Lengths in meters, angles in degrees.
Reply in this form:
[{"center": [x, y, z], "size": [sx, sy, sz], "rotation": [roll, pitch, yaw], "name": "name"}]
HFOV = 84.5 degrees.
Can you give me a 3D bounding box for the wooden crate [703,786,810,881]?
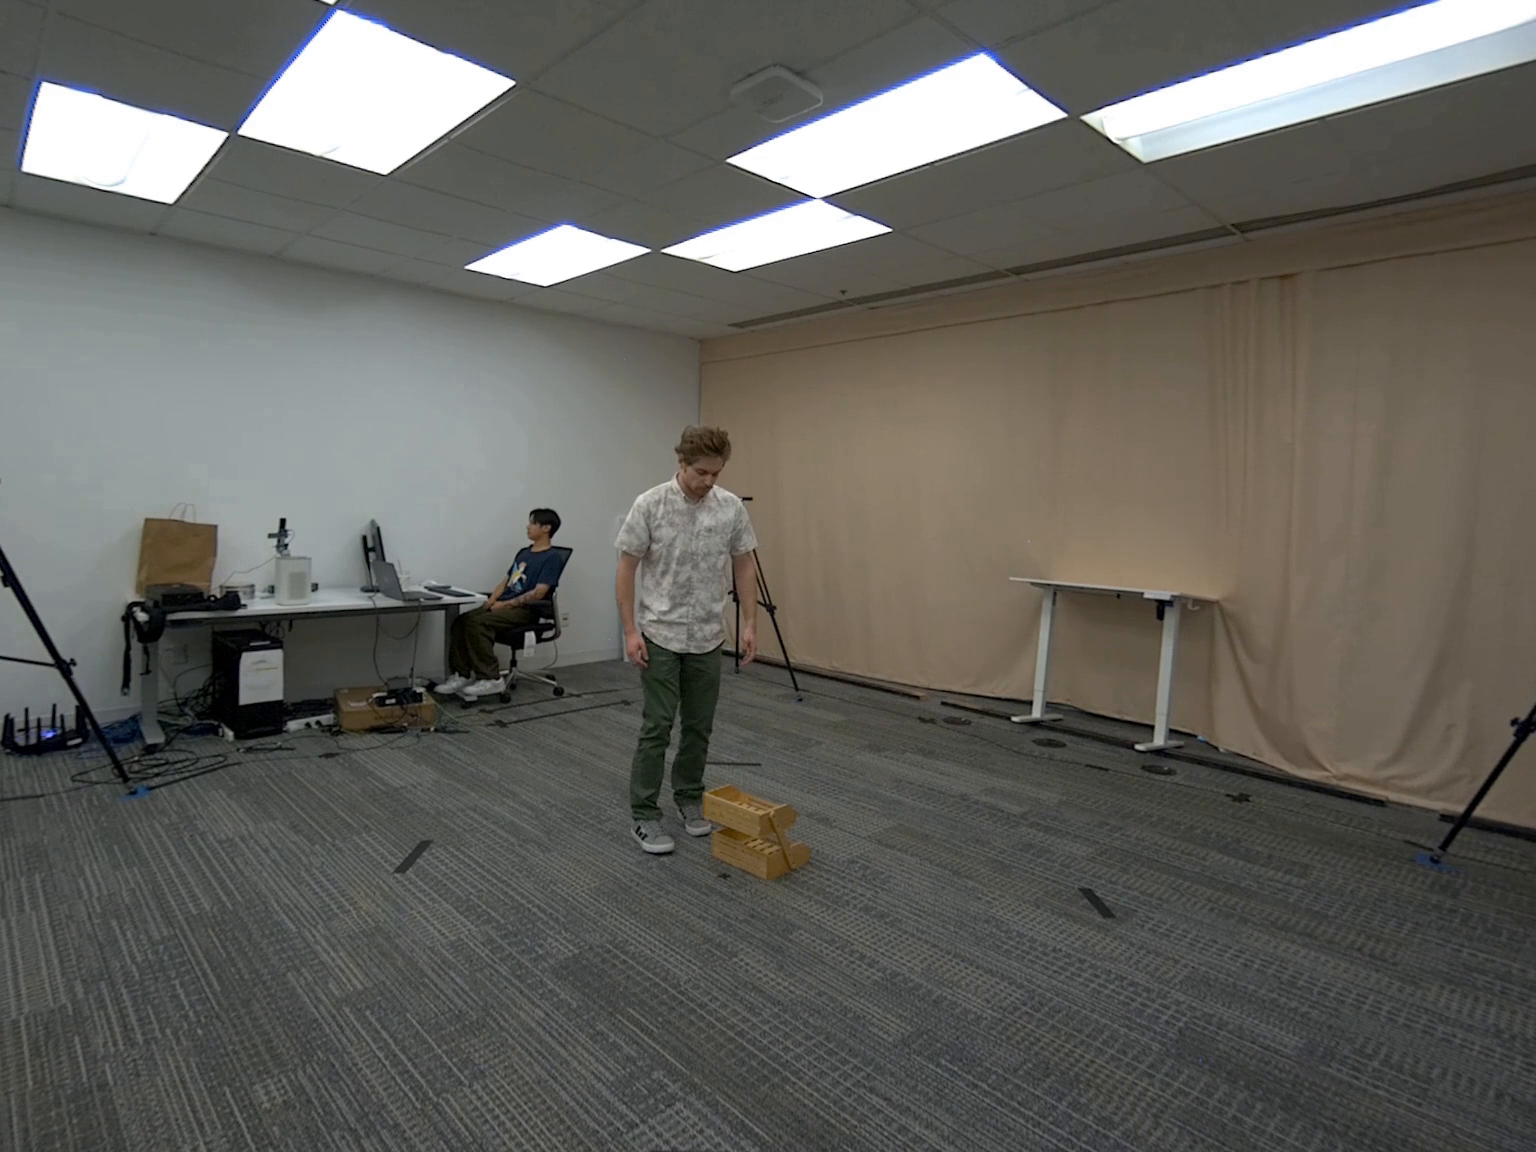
[{"center": [-0.048, 0.962, 3.242], "size": [0.333, 0.272, 0.295], "rotation": [5, 7, 43], "name": "wooden crate"}]
